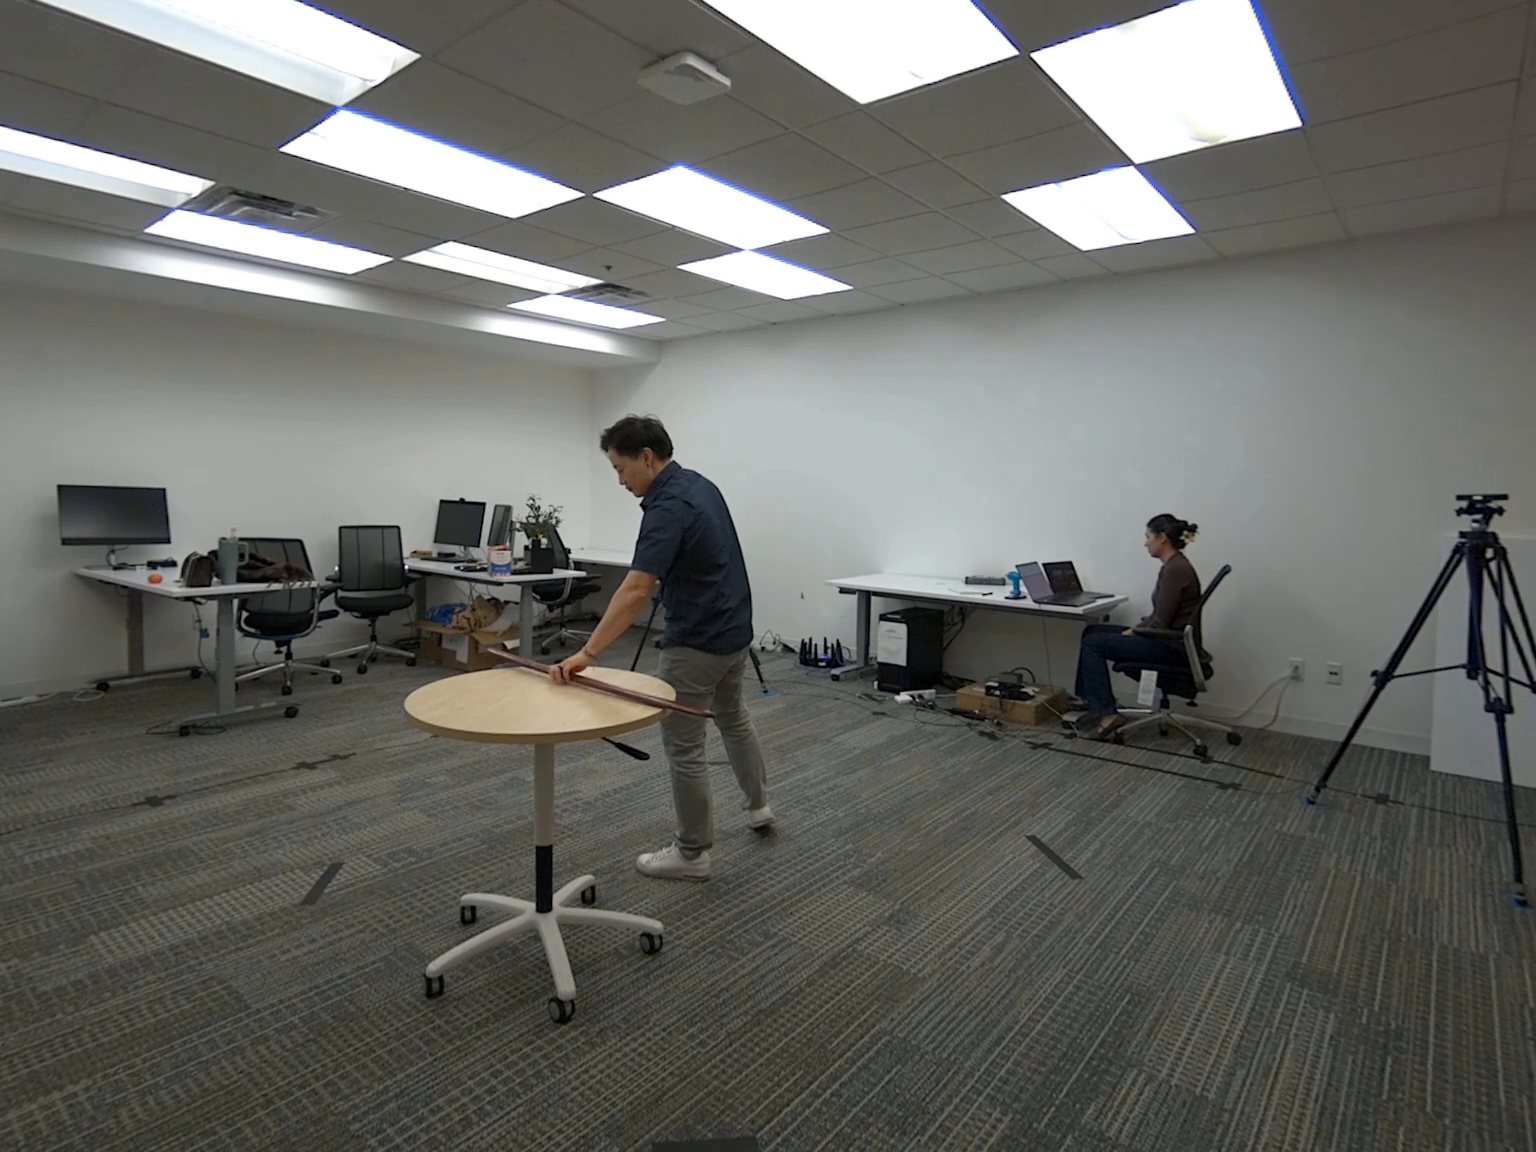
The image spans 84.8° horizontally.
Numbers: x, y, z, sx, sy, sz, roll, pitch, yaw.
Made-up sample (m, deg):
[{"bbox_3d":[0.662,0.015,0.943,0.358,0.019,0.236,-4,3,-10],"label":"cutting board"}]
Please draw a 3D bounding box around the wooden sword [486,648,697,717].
[{"bbox_3d":[-0.615,0.304,2.601,1.061,0.051,0.023,8,-3,42],"label":"wooden sword"}]
